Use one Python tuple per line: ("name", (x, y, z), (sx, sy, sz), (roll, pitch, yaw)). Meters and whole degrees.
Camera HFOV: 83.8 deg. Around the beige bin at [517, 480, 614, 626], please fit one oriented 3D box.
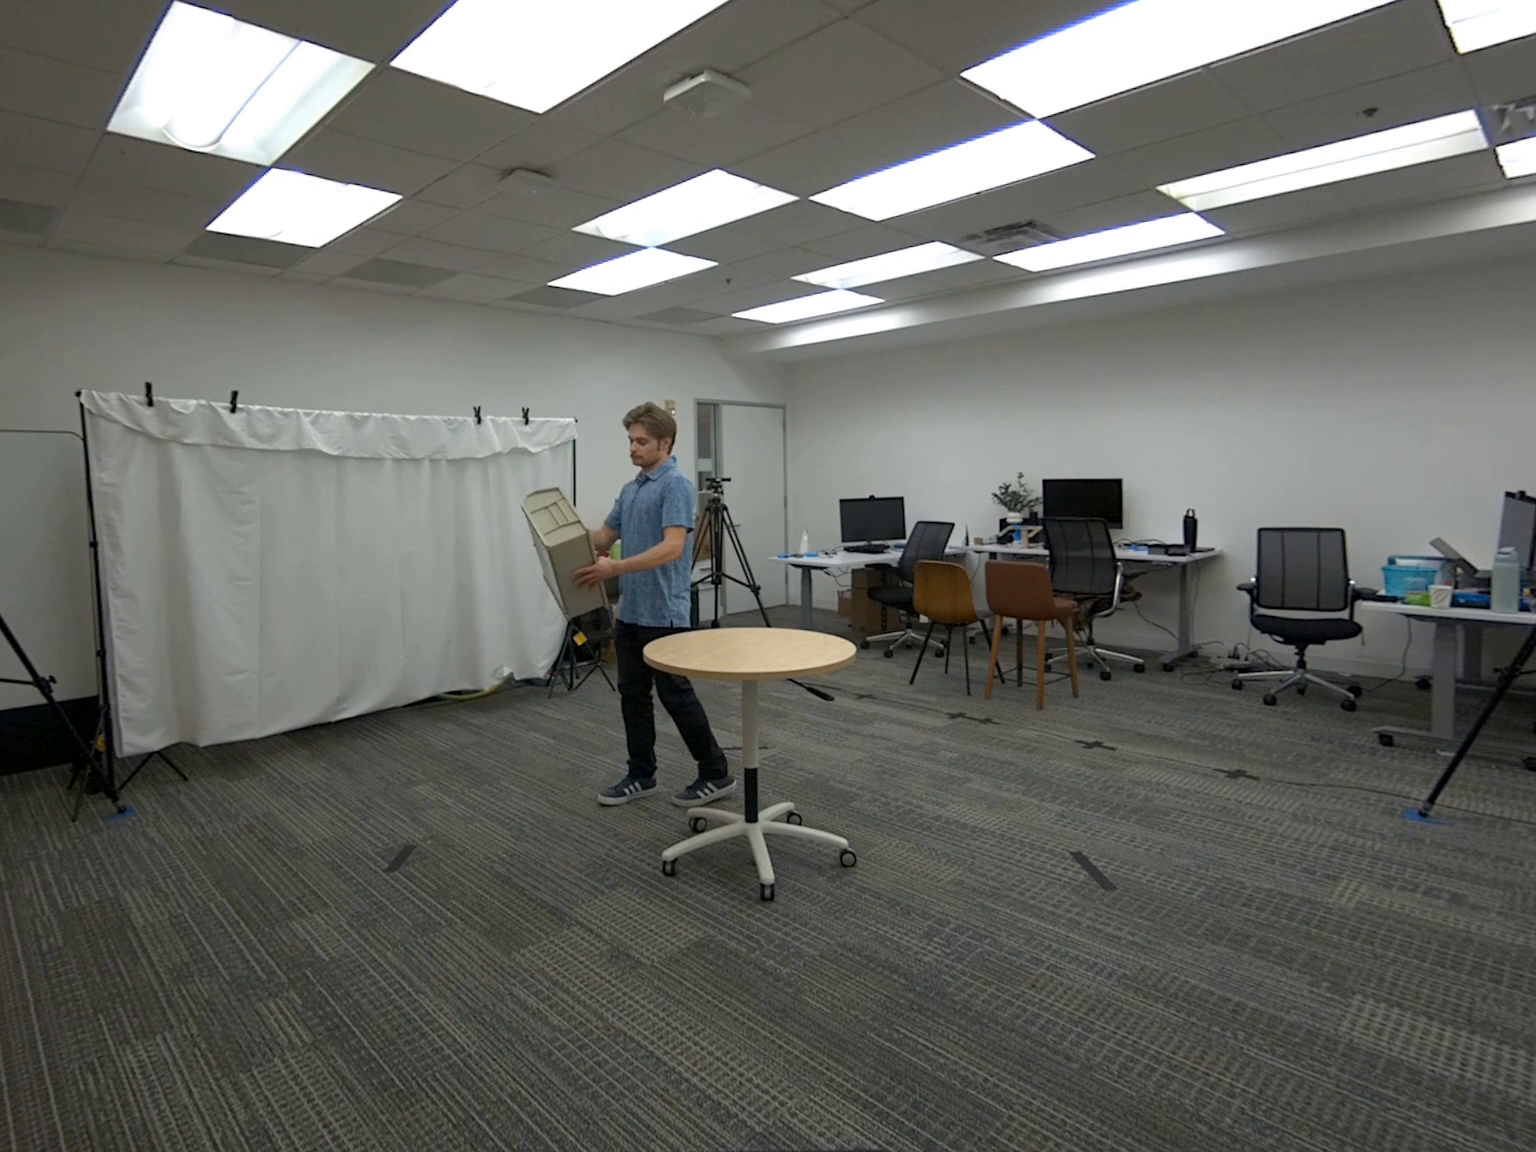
("beige bin", (-0.827, -0.099, 3.495), (0.187, 0.410, 0.392), (-23, 43, -18))
